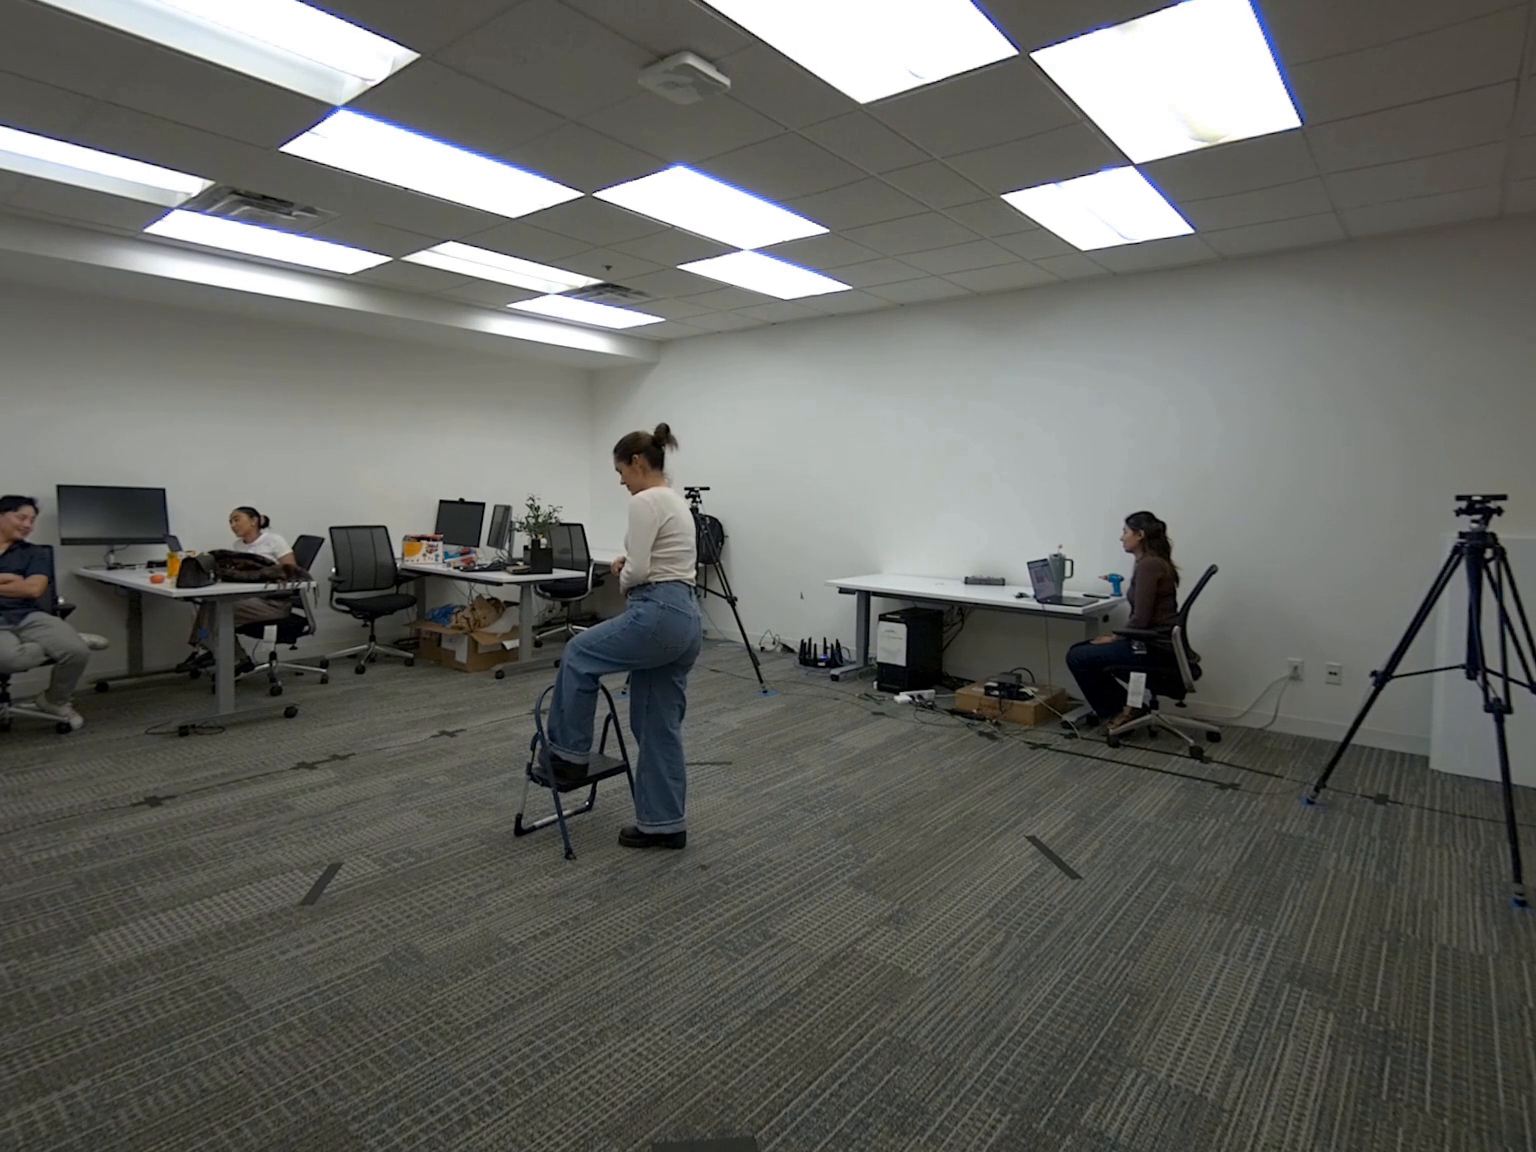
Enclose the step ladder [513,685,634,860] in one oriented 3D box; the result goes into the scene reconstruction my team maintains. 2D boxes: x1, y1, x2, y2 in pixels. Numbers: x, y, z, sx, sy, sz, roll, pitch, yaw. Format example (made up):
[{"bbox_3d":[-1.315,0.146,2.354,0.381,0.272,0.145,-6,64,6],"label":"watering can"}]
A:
[{"bbox_3d":[-0.762,0.727,3.424,0.360,0.605,0.418,2,3,36],"label":"step ladder"}]
